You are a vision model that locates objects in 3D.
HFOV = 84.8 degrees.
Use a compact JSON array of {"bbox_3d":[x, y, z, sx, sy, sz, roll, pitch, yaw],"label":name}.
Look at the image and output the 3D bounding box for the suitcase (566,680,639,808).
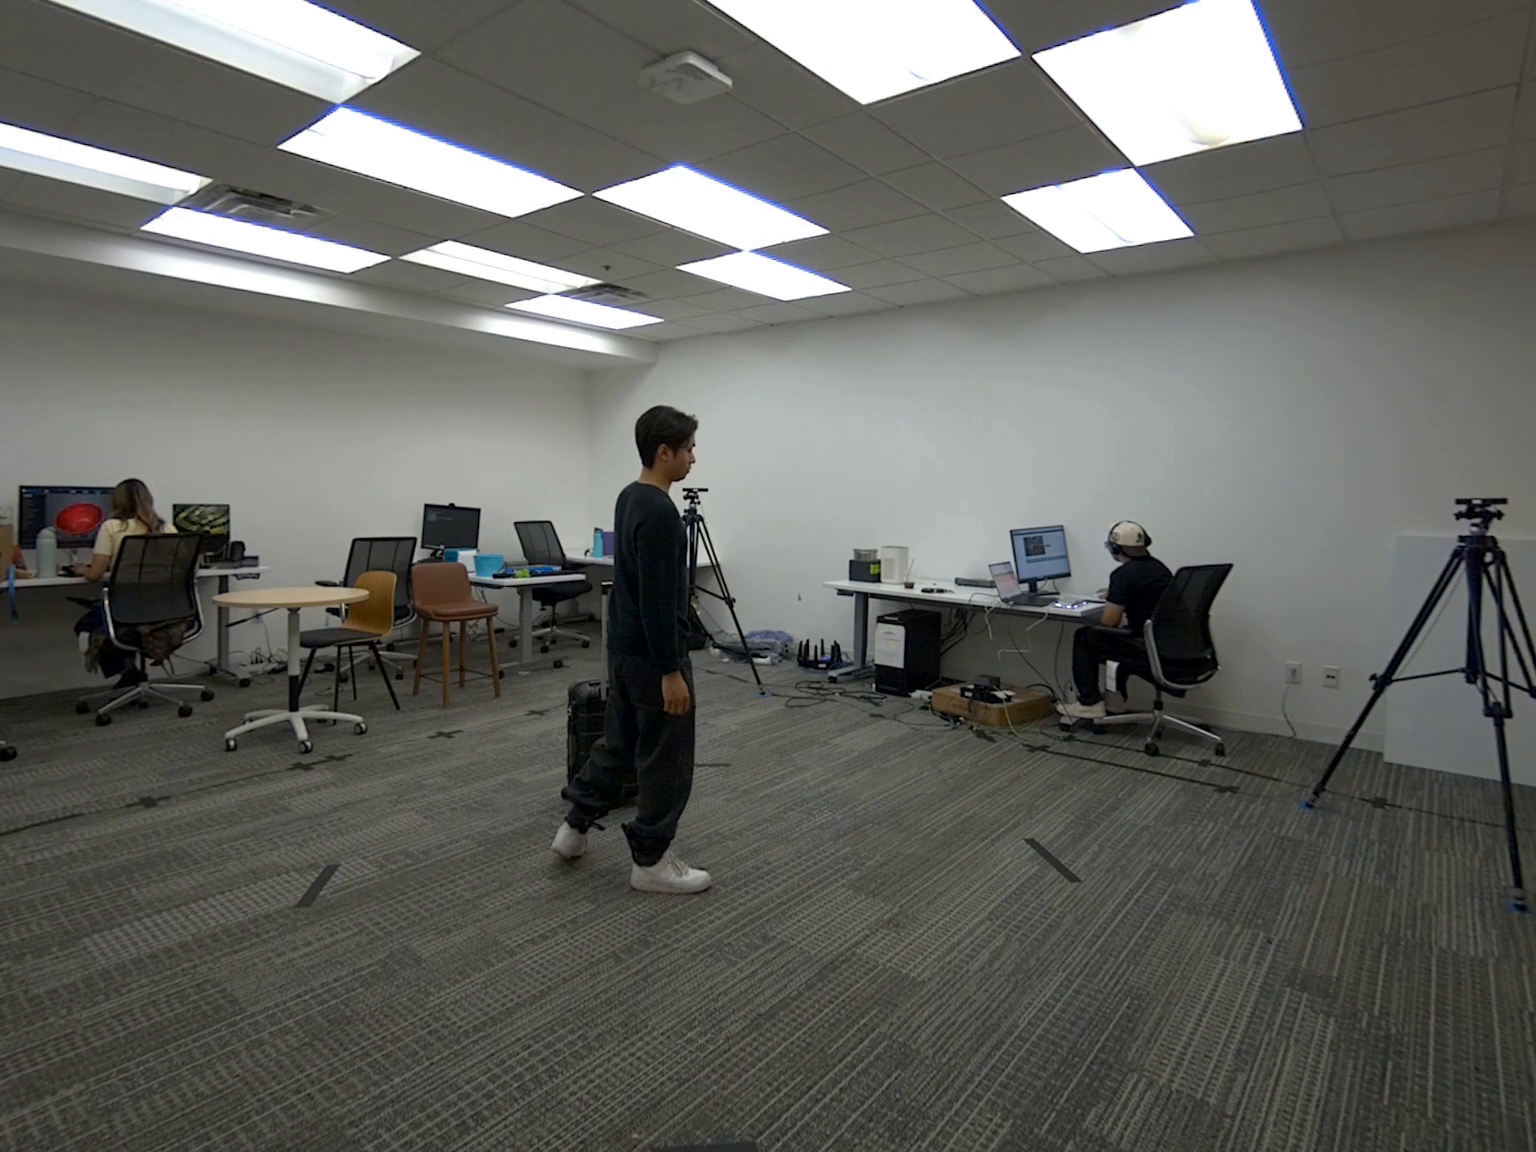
[{"bbox_3d":[-0.712,0.520,3.758,0.375,0.978,0.263,1,1,-23],"label":"suitcase"}]
